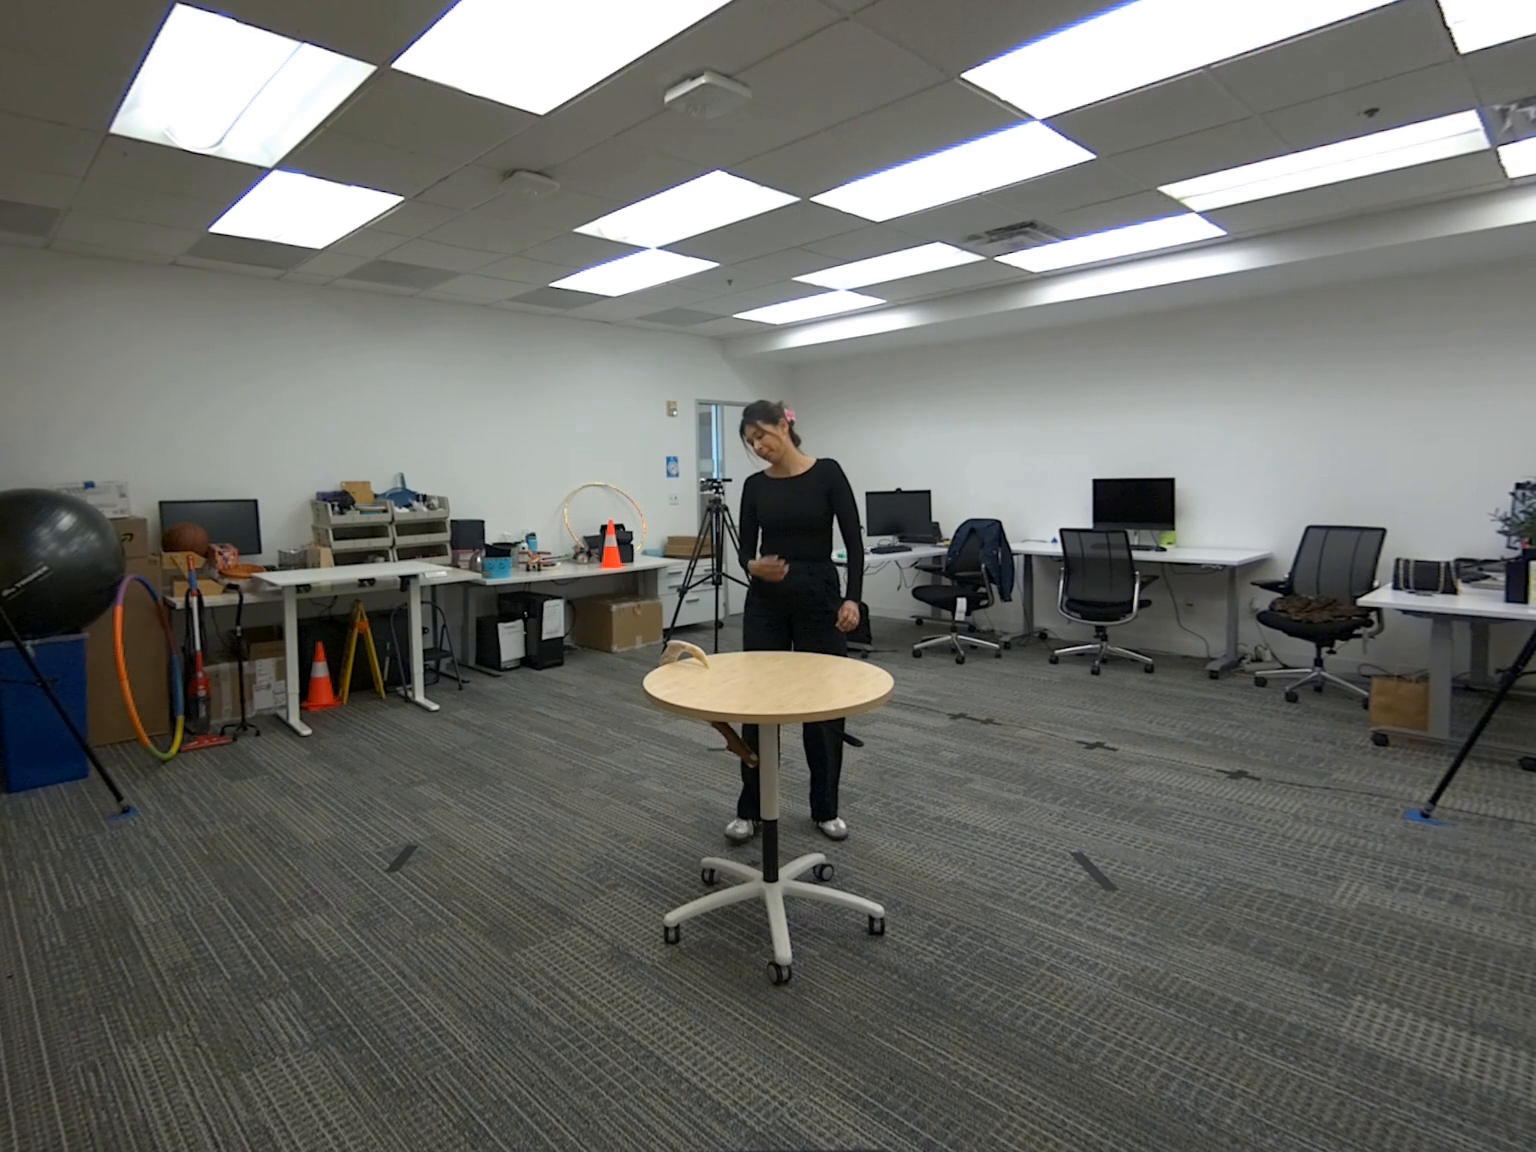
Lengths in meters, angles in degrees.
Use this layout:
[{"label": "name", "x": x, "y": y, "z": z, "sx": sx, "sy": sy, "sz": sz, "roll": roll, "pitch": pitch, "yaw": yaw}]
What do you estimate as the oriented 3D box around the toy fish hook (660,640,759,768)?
[{"label": "toy fish hook", "x": -0.191, "y": 0.405, "z": 2.773, "sx": 0.047, "sy": 0.222, "sz": 0.525, "roll": -7, "pitch": 37, "yaw": -48}]
